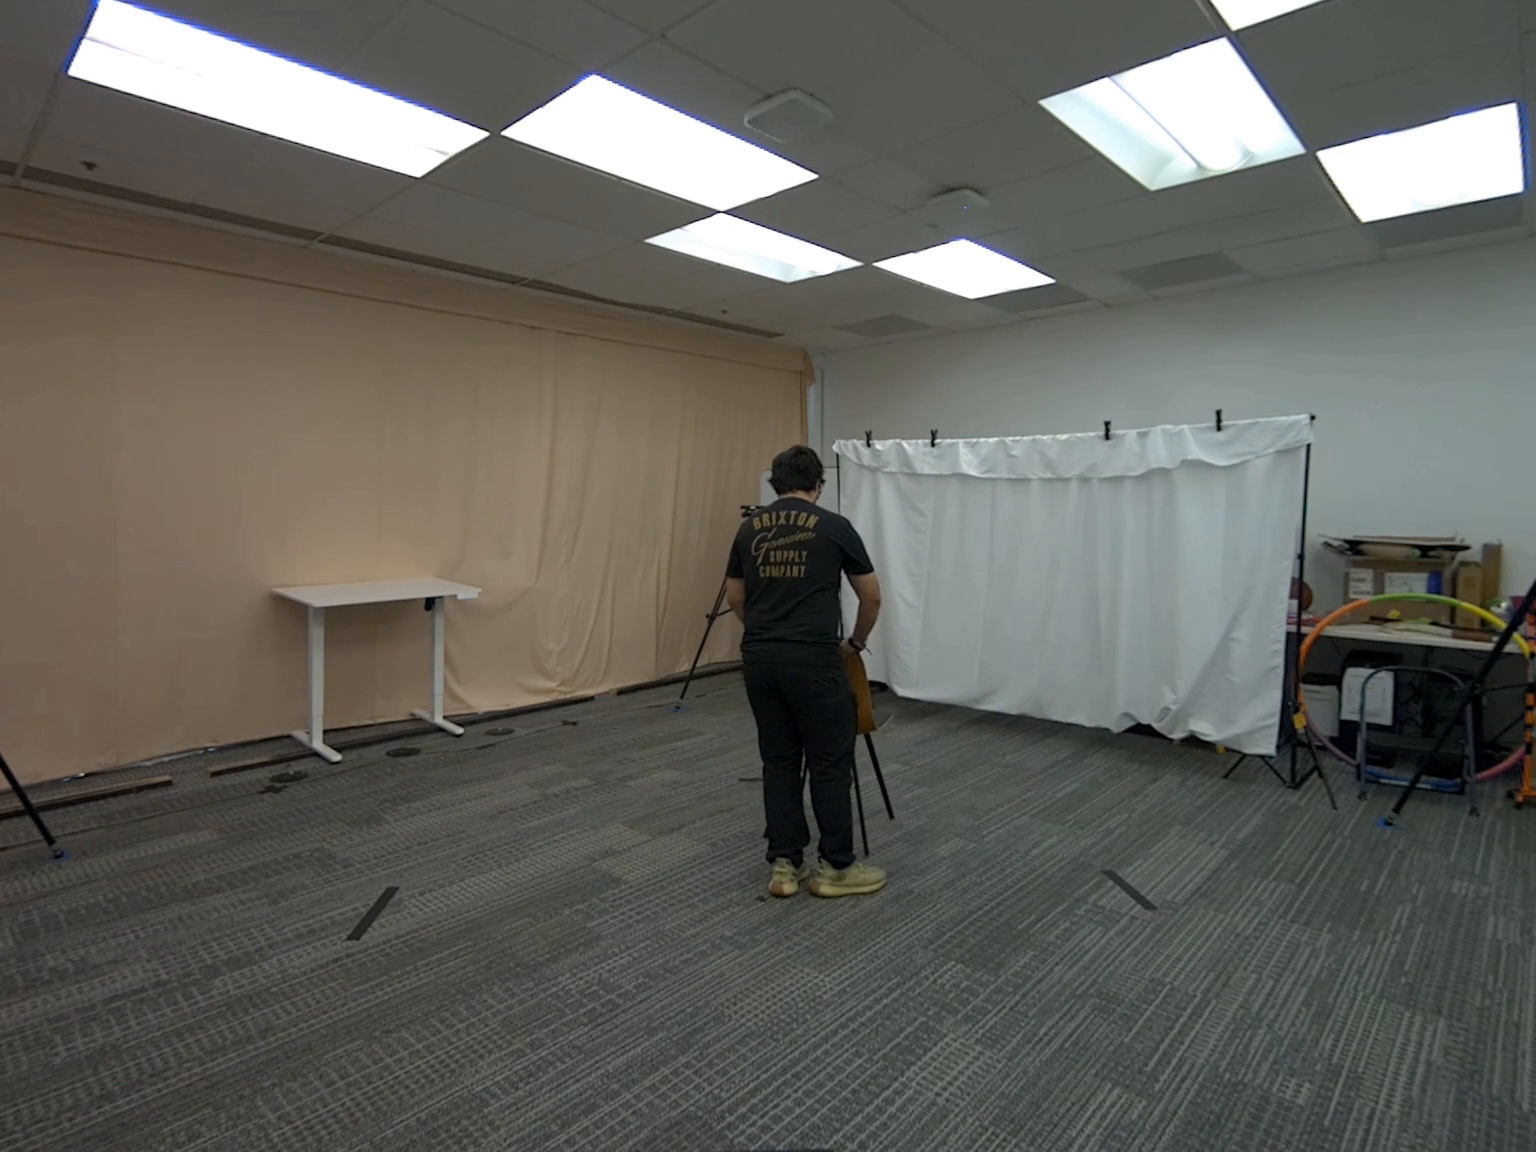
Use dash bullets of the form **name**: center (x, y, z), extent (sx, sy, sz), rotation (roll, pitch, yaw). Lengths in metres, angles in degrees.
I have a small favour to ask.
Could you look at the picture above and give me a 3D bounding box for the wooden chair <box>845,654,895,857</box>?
- **wooden chair**: center (0.268, 0.658, 3.618), extent (0.490, 0.874, 0.513), rotation (1, 7, 23)
